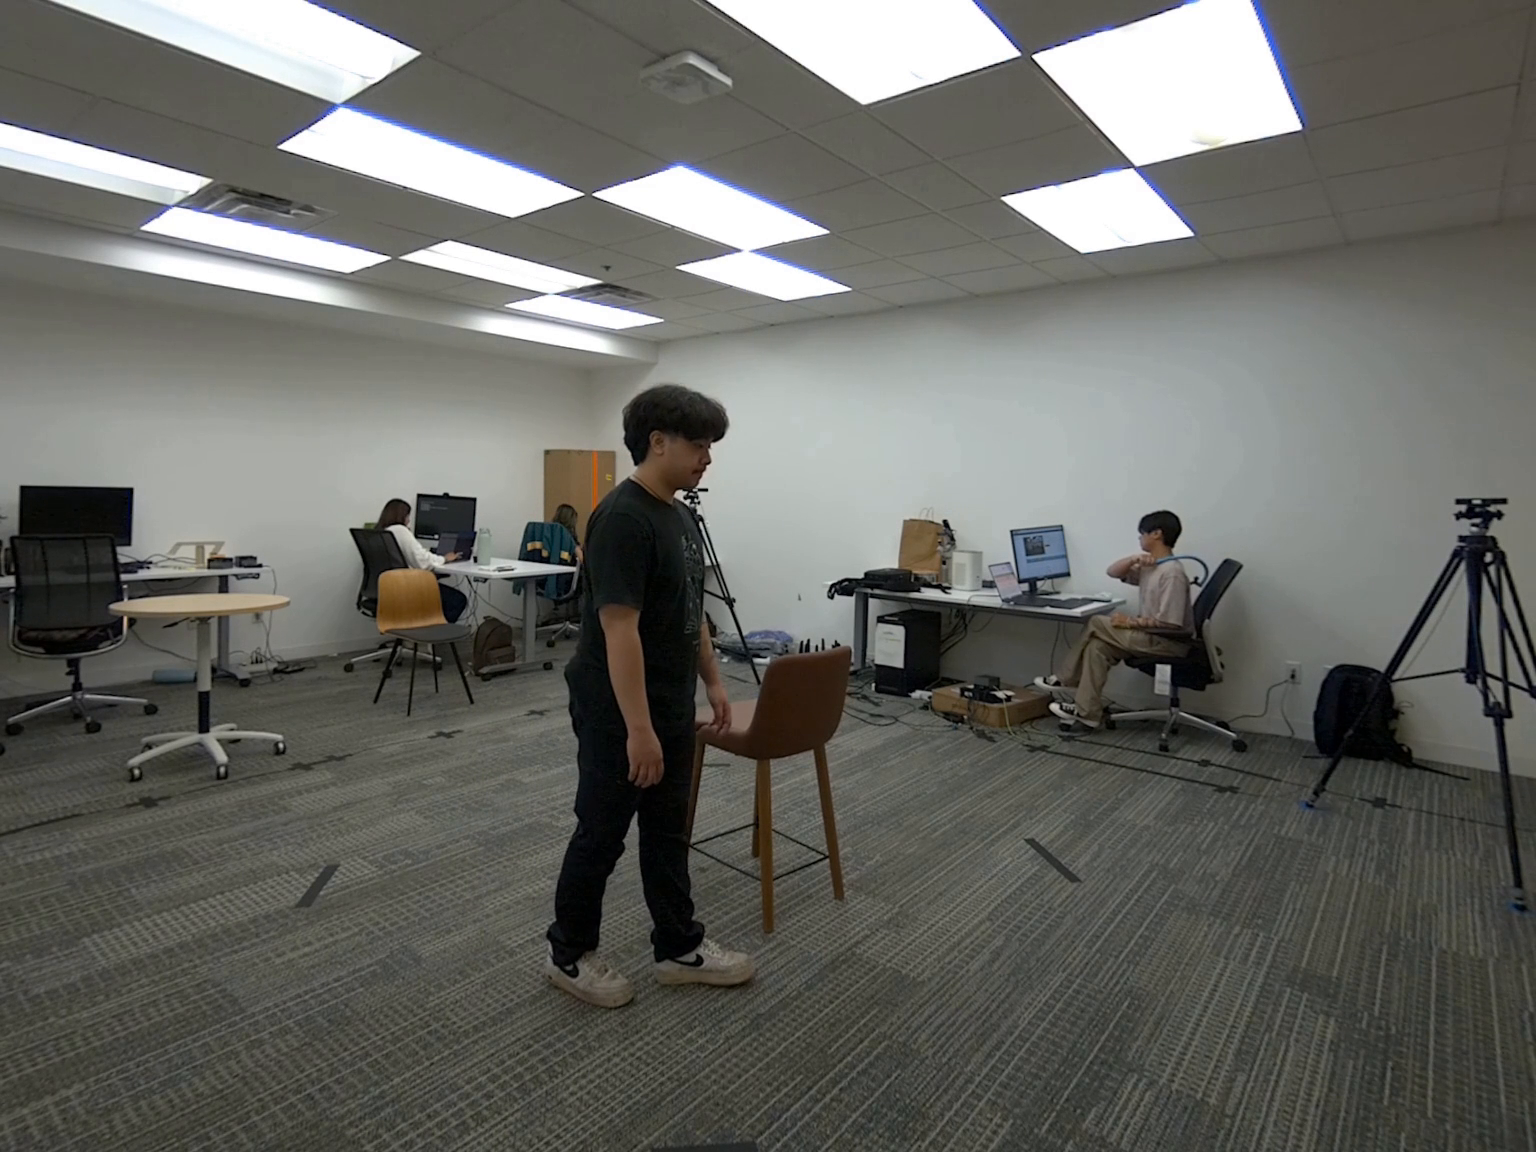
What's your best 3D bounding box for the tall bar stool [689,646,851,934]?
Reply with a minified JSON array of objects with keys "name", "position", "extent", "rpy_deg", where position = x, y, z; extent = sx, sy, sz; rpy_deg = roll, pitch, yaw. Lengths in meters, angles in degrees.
[{"name":"tall bar stool","position":[-0.015,0.657,2.927],"extent":[0.442,0.886,0.484],"rpy_deg":[-1,6,-43]}]
